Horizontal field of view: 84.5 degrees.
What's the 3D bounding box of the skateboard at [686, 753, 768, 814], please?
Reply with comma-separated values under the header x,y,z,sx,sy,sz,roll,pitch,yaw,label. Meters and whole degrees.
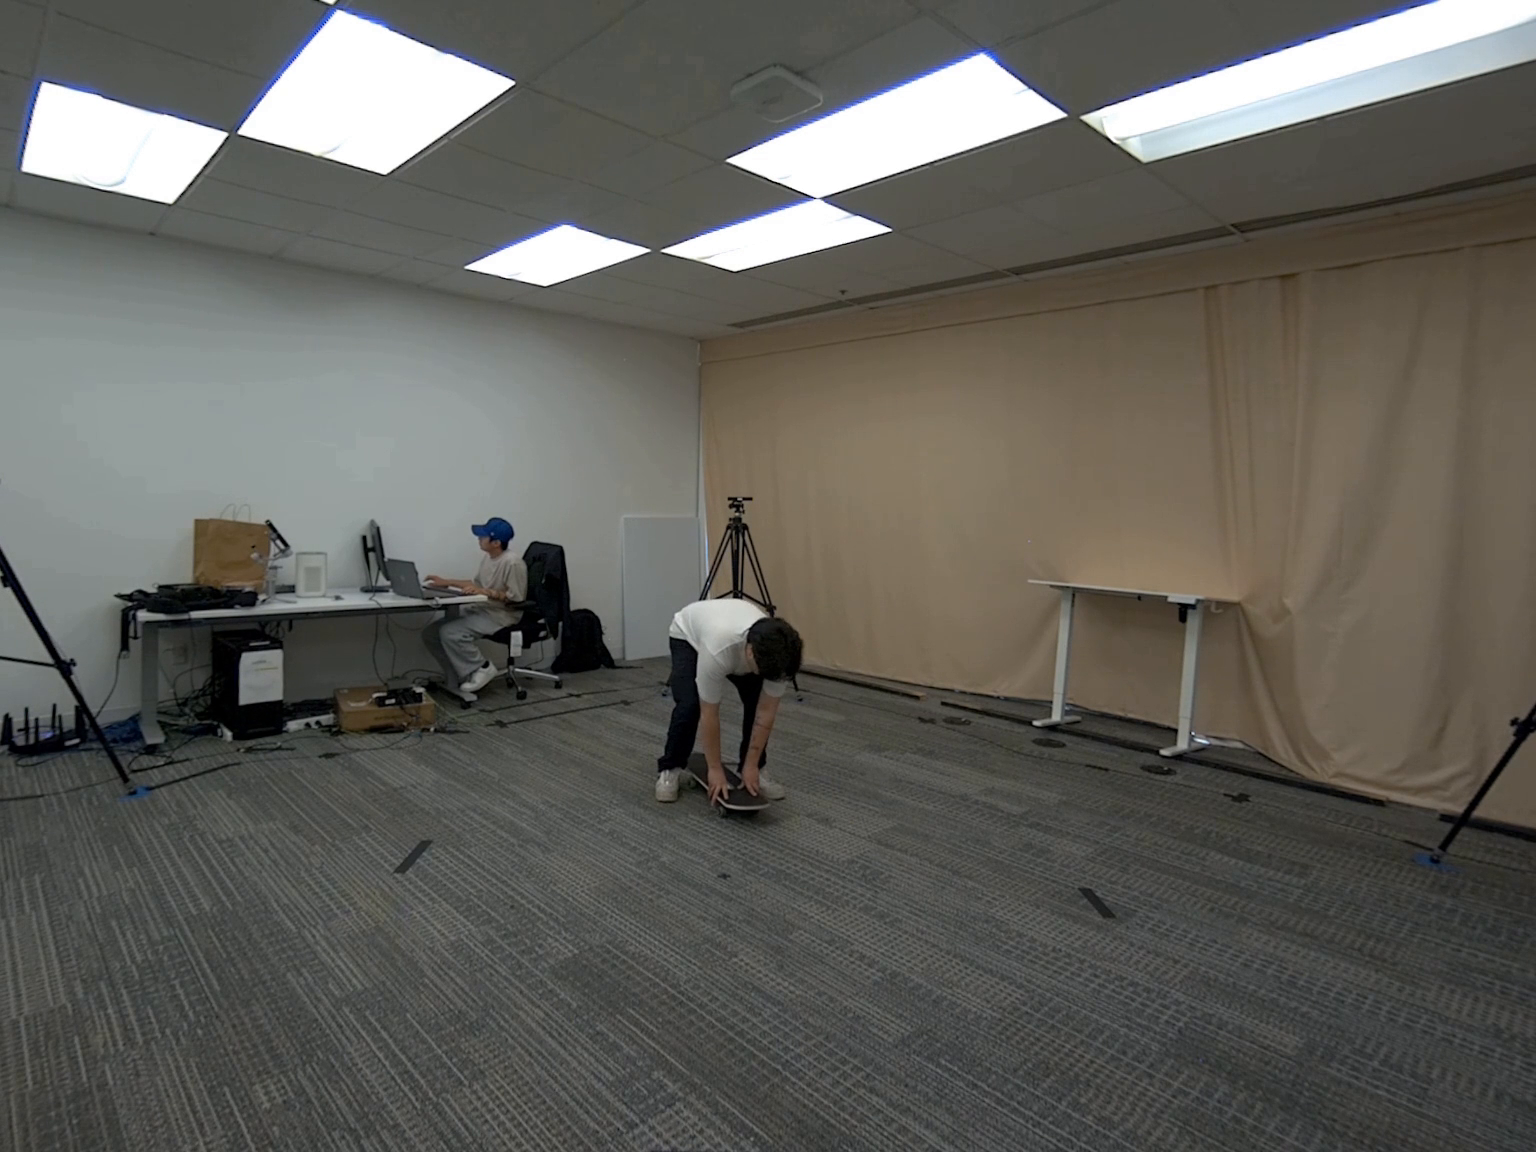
x,y,z,sx,sy,sz,roll,pitch,yaw,label
-0.225,0.987,3.892,0.190,0.110,0.800,0,5,-23,skateboard
